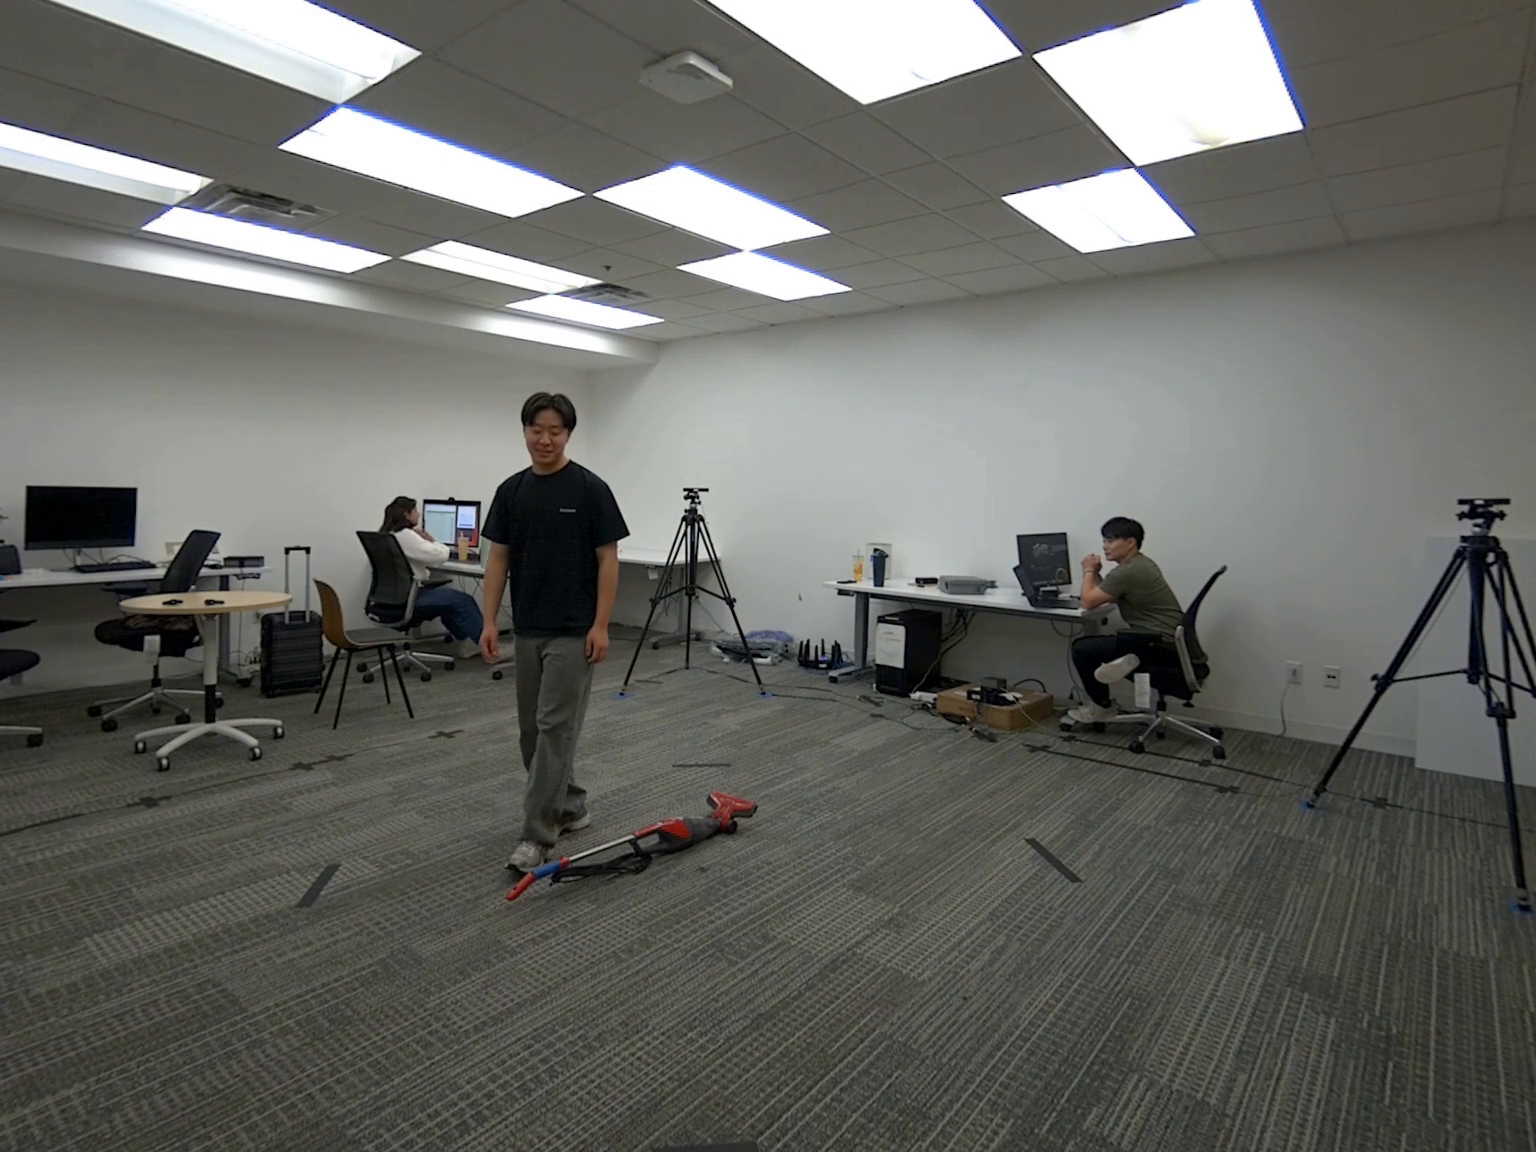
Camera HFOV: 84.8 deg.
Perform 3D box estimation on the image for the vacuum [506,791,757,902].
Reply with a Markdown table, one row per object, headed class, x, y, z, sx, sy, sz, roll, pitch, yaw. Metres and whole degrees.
| class | x | y | z | sx | sy | sz | roll | pitch | yaw |
| --- | --- | --- | --- | --- | --- | --- | --- | --- | --- |
| vacuum | -0.500 | 1.008 | 3.123 | 0.261 | 0.143 | 1.018 | 3 | 6 | 42 |
